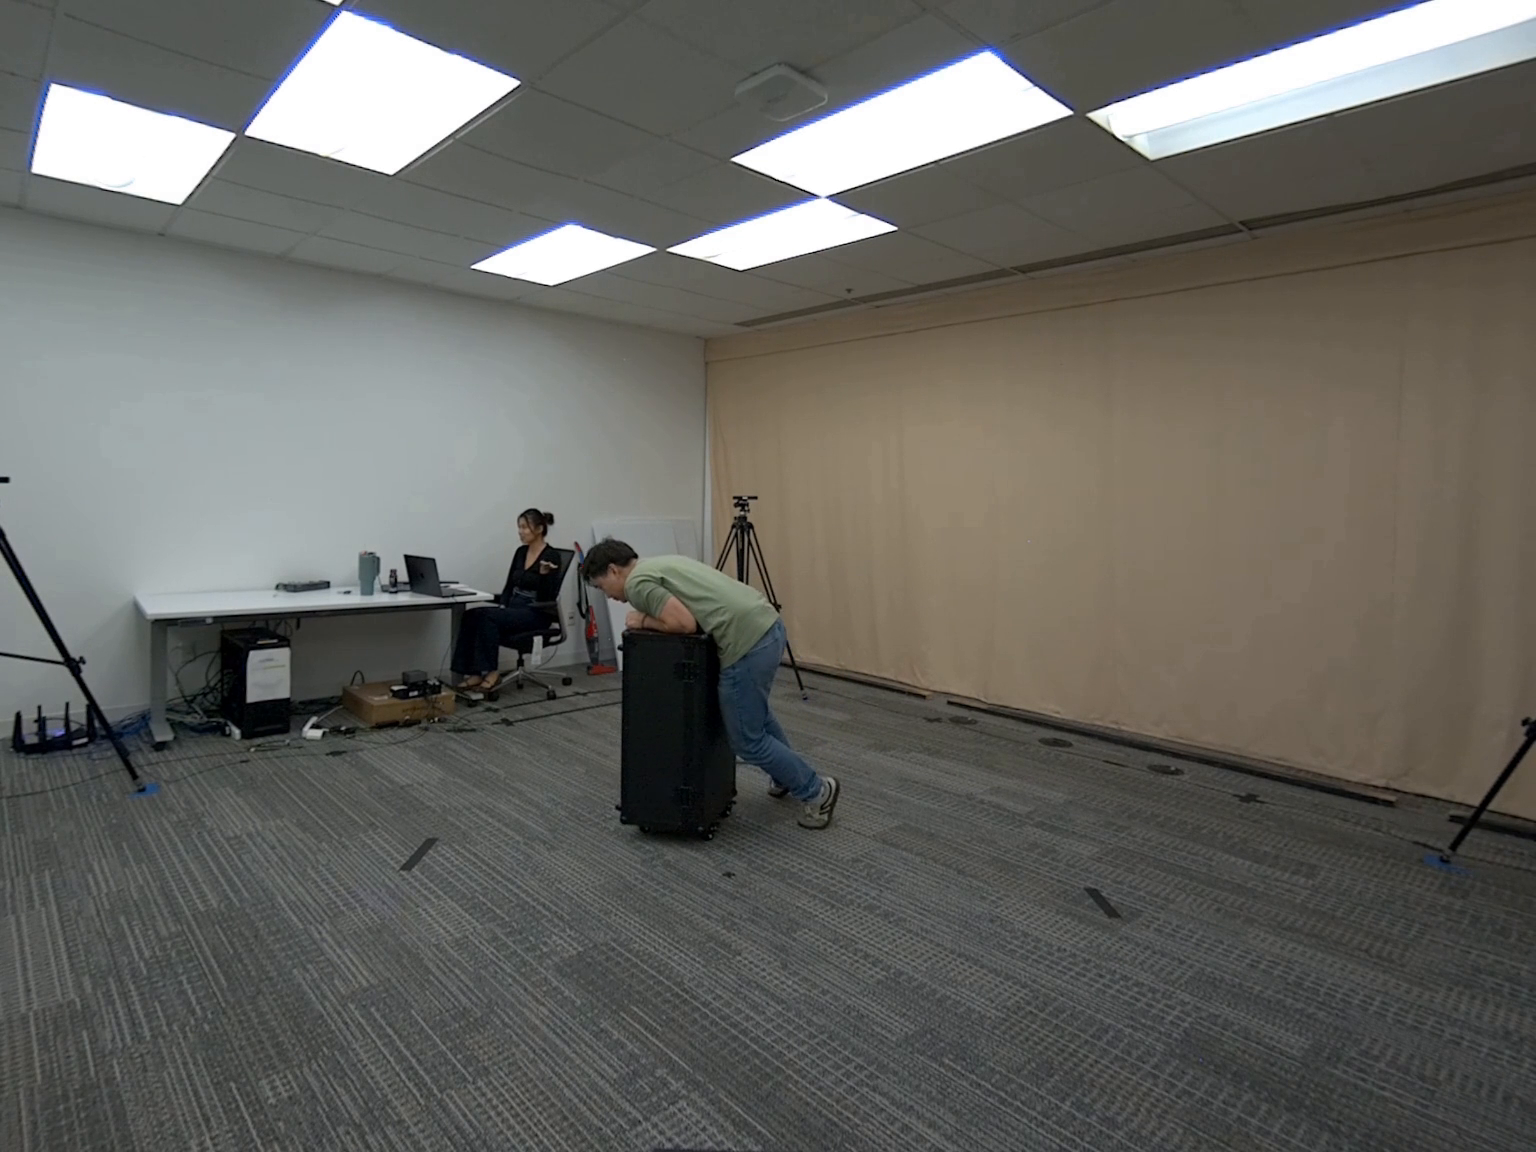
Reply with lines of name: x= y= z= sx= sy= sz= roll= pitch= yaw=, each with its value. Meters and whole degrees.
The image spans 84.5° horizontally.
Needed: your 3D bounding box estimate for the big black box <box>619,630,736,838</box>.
big black box: x=-0.381 y=0.634 z=3.548 sx=0.401 sy=0.860 sz=0.516 roll=1 pitch=3 yaw=13
